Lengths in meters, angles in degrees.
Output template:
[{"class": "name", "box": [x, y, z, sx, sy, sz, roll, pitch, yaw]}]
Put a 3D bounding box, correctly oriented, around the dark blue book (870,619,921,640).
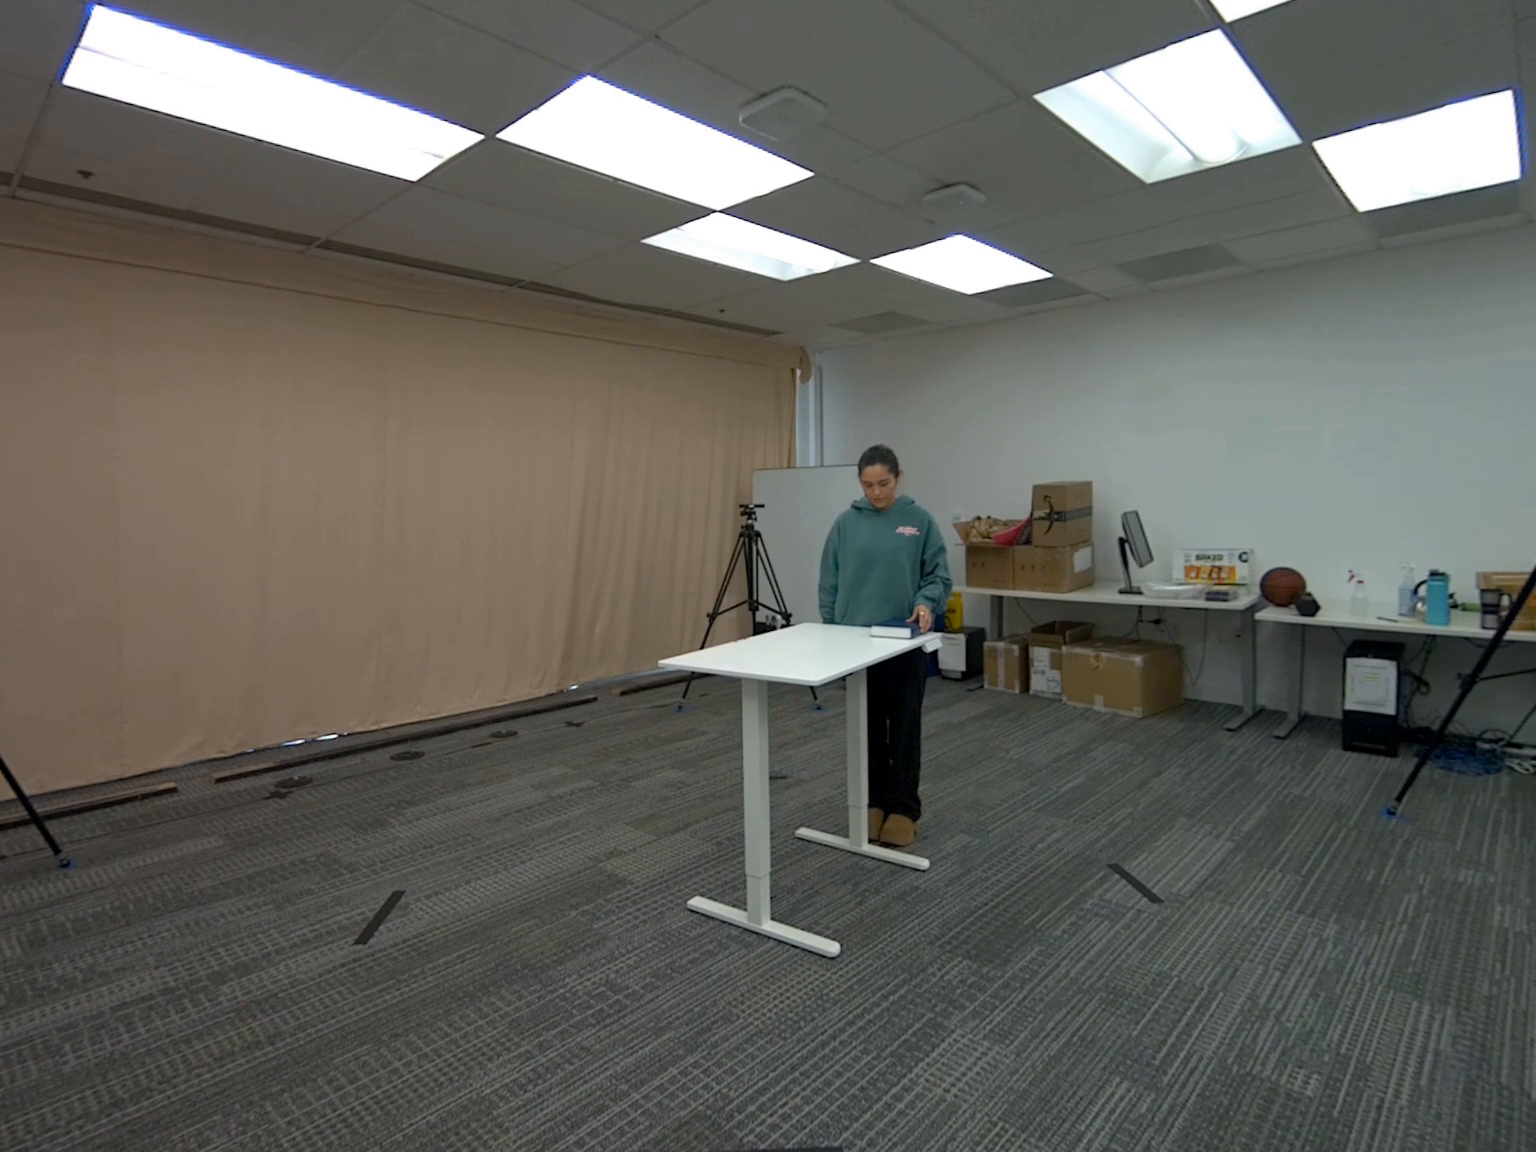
[{"class": "dark blue book", "box": [0.510, 0.204, 3.255, 0.168, 0.045, 0.239, 3, 4, 29]}]
